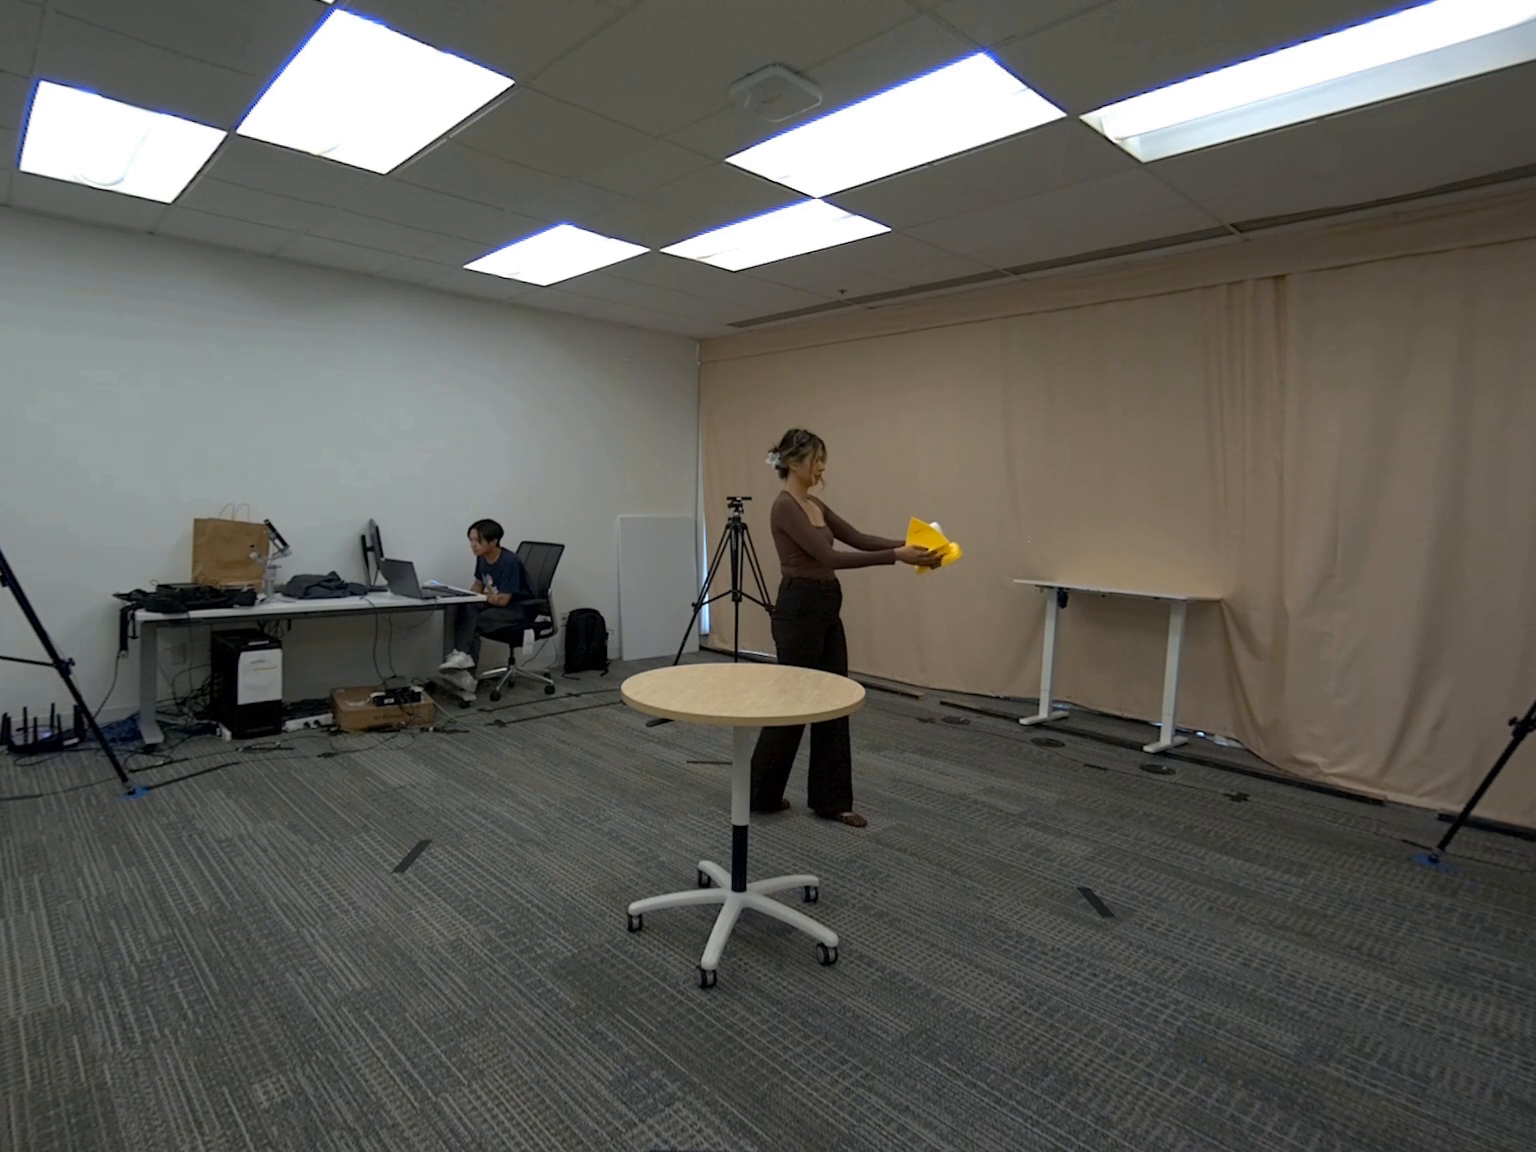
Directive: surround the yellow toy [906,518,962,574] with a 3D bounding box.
[{"bbox_3d":[0.643,-0.155,3.468,0.207,0.230,0.192,-25,5,28],"label":"yellow toy"}]
